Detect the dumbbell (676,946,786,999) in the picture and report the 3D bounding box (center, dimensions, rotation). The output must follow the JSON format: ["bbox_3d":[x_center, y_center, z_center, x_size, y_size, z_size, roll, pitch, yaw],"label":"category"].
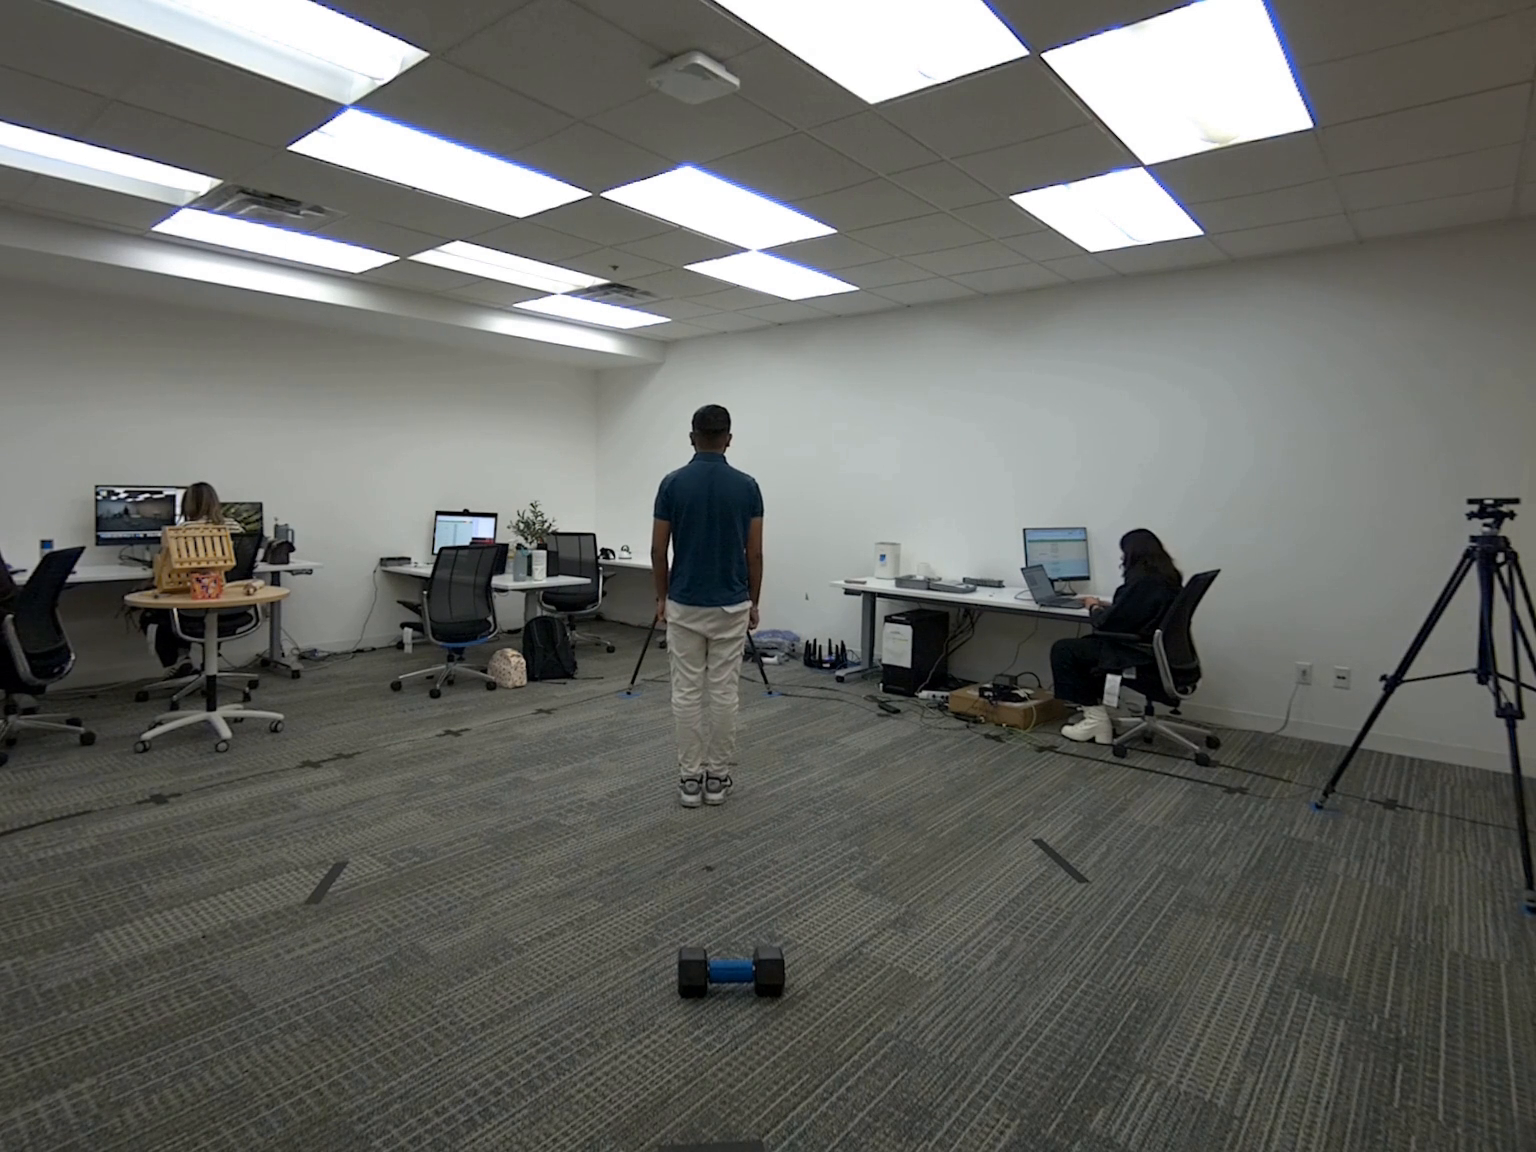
[{"bbox_3d":[-0.109,1.094,2.363,0.292,0.126,0.106,1,-27,-4],"label":"dumbbell"}]
